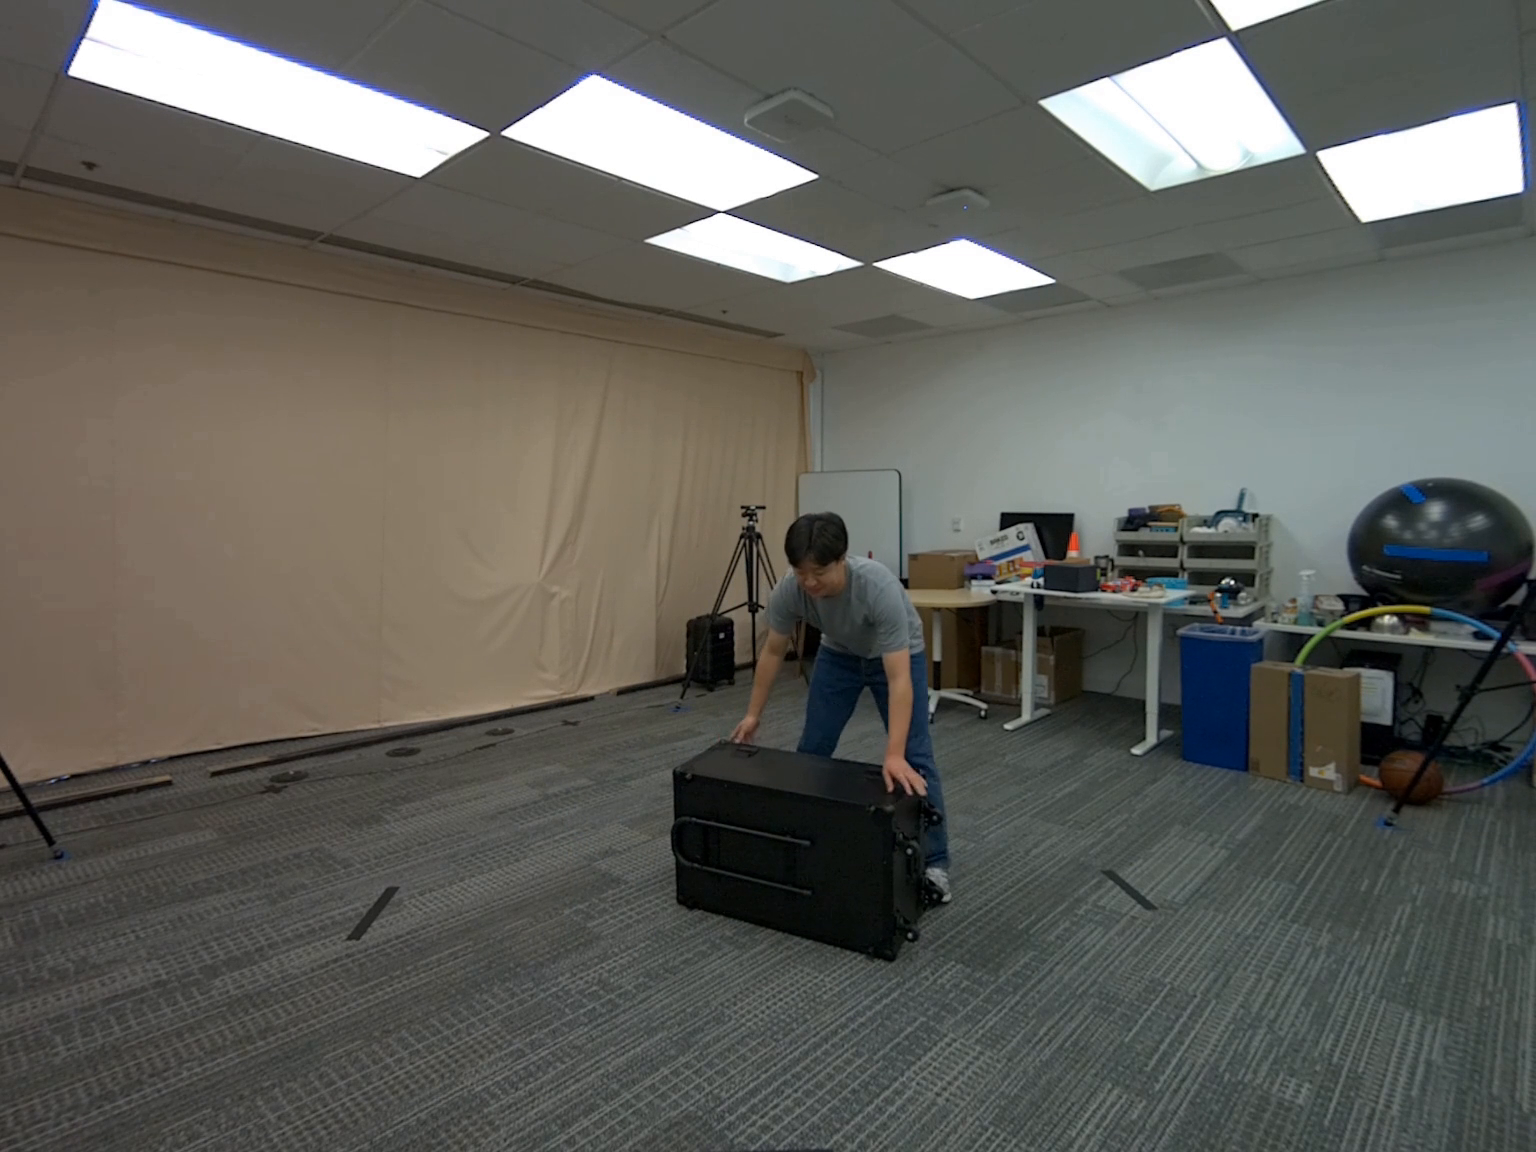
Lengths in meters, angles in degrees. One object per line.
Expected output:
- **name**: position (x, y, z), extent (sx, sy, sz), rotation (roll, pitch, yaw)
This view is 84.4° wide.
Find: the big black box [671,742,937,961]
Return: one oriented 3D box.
- **big black box**: position (0.129, 0.895, 2.858), extent (0.885, 0.519, 0.387), rotation (2, 6, 28)
